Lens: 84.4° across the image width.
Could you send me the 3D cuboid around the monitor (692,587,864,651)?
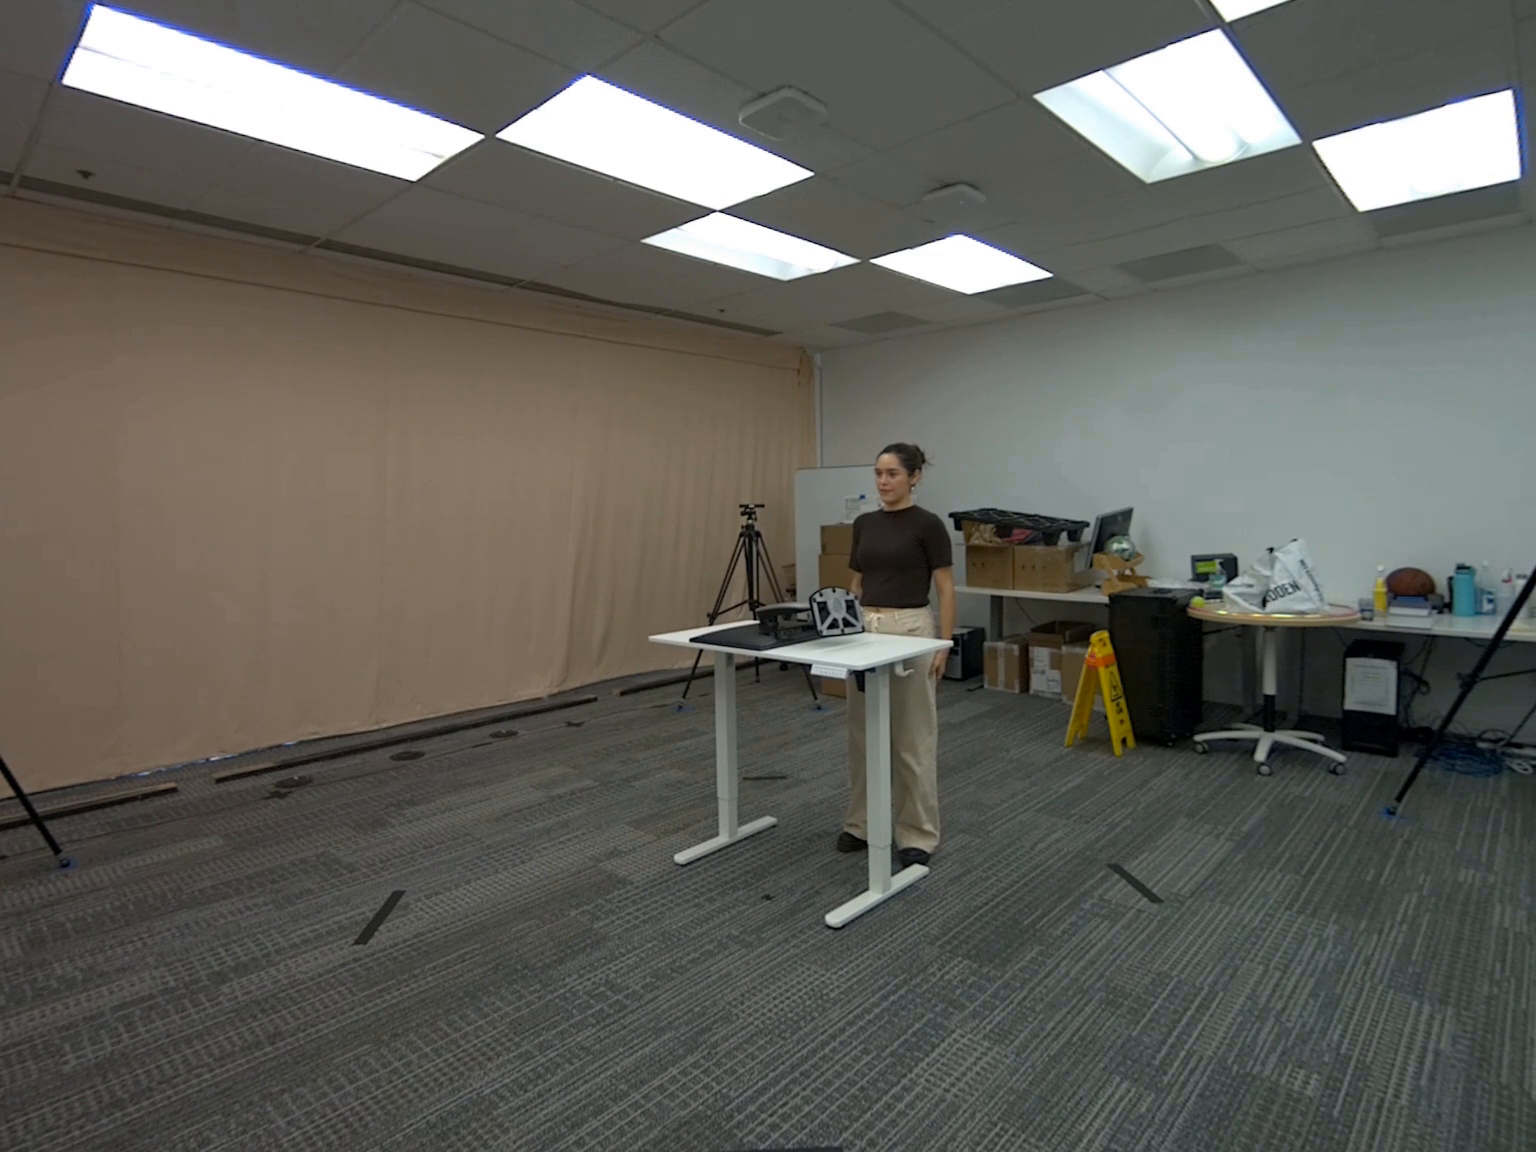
[{"bbox_3d":[0.069,0.183,3.166,0.535,0.188,0.522,-17,-11,43],"label":"monitor"}]
